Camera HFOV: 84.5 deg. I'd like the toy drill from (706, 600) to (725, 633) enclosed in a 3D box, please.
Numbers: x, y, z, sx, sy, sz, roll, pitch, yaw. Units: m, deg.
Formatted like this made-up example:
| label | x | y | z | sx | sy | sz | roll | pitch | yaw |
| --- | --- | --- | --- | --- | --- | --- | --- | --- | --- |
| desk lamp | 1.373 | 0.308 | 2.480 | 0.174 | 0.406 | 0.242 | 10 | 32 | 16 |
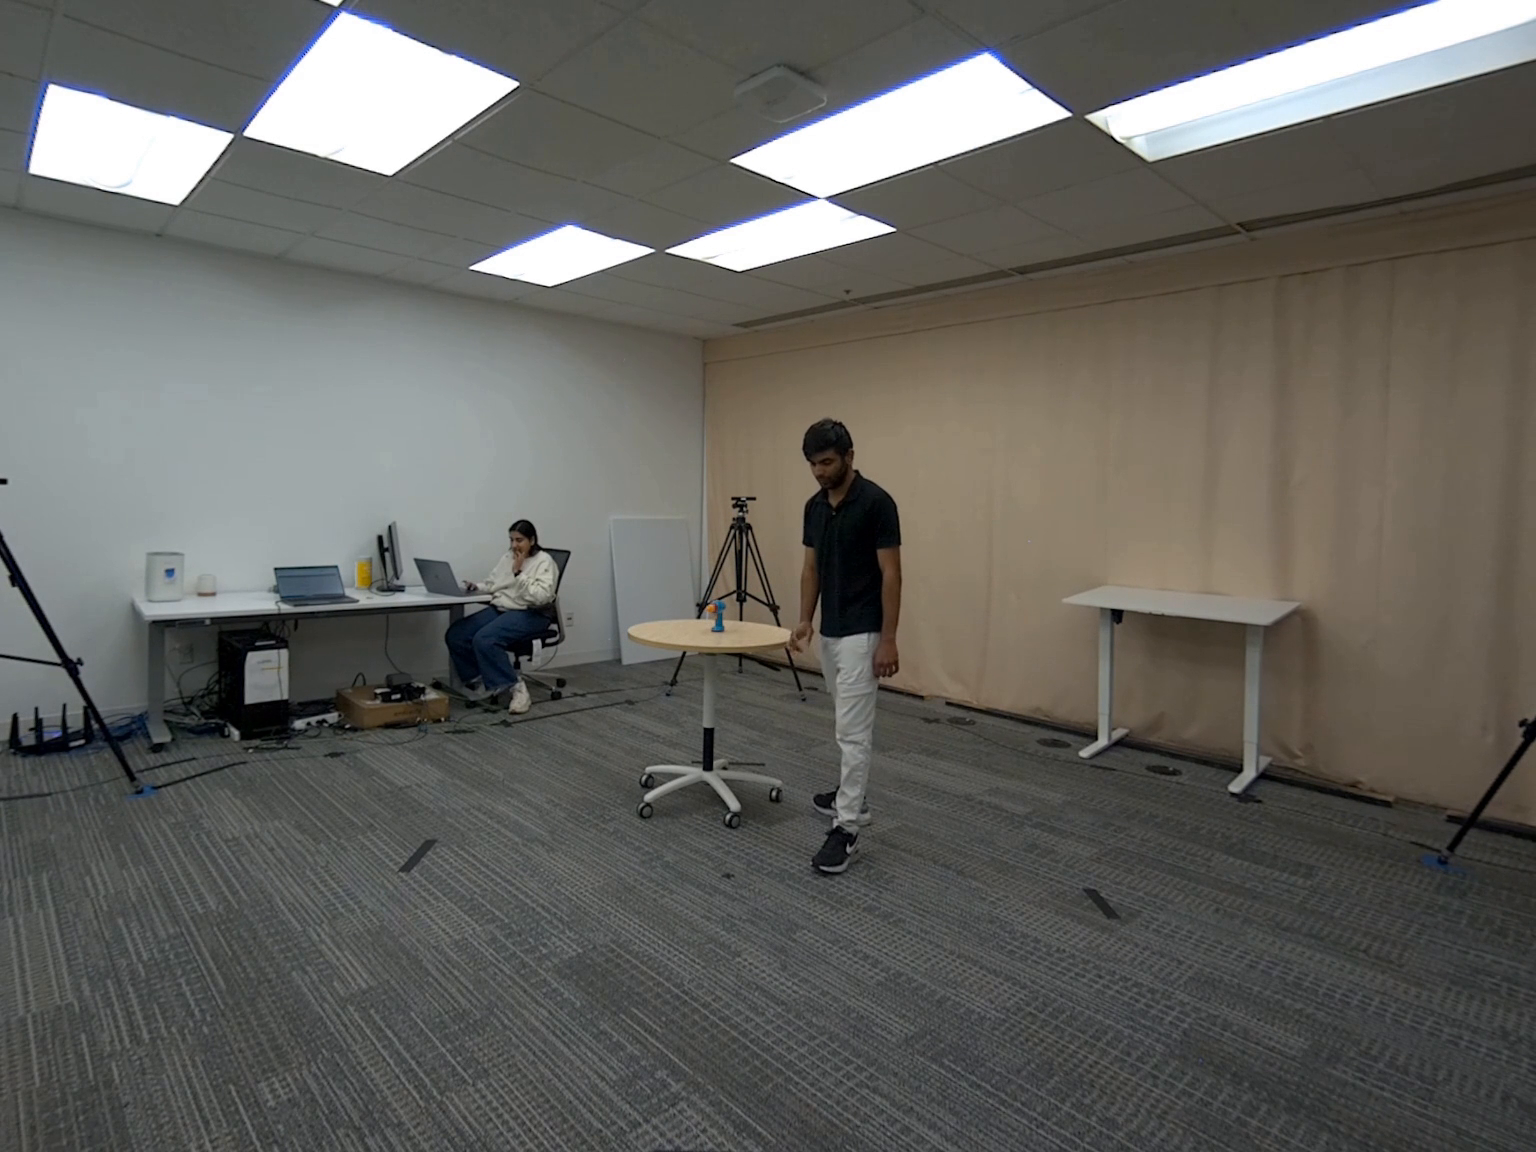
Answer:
| label | x | y | z | sx | sy | sz | roll | pitch | yaw |
| --- | --- | --- | --- | --- | --- | --- | --- | --- | --- |
| toy drill | -0.250 | 0.183 | 3.836 | 0.062 | 0.146 | 0.167 | 3 | 4 | 22 |
